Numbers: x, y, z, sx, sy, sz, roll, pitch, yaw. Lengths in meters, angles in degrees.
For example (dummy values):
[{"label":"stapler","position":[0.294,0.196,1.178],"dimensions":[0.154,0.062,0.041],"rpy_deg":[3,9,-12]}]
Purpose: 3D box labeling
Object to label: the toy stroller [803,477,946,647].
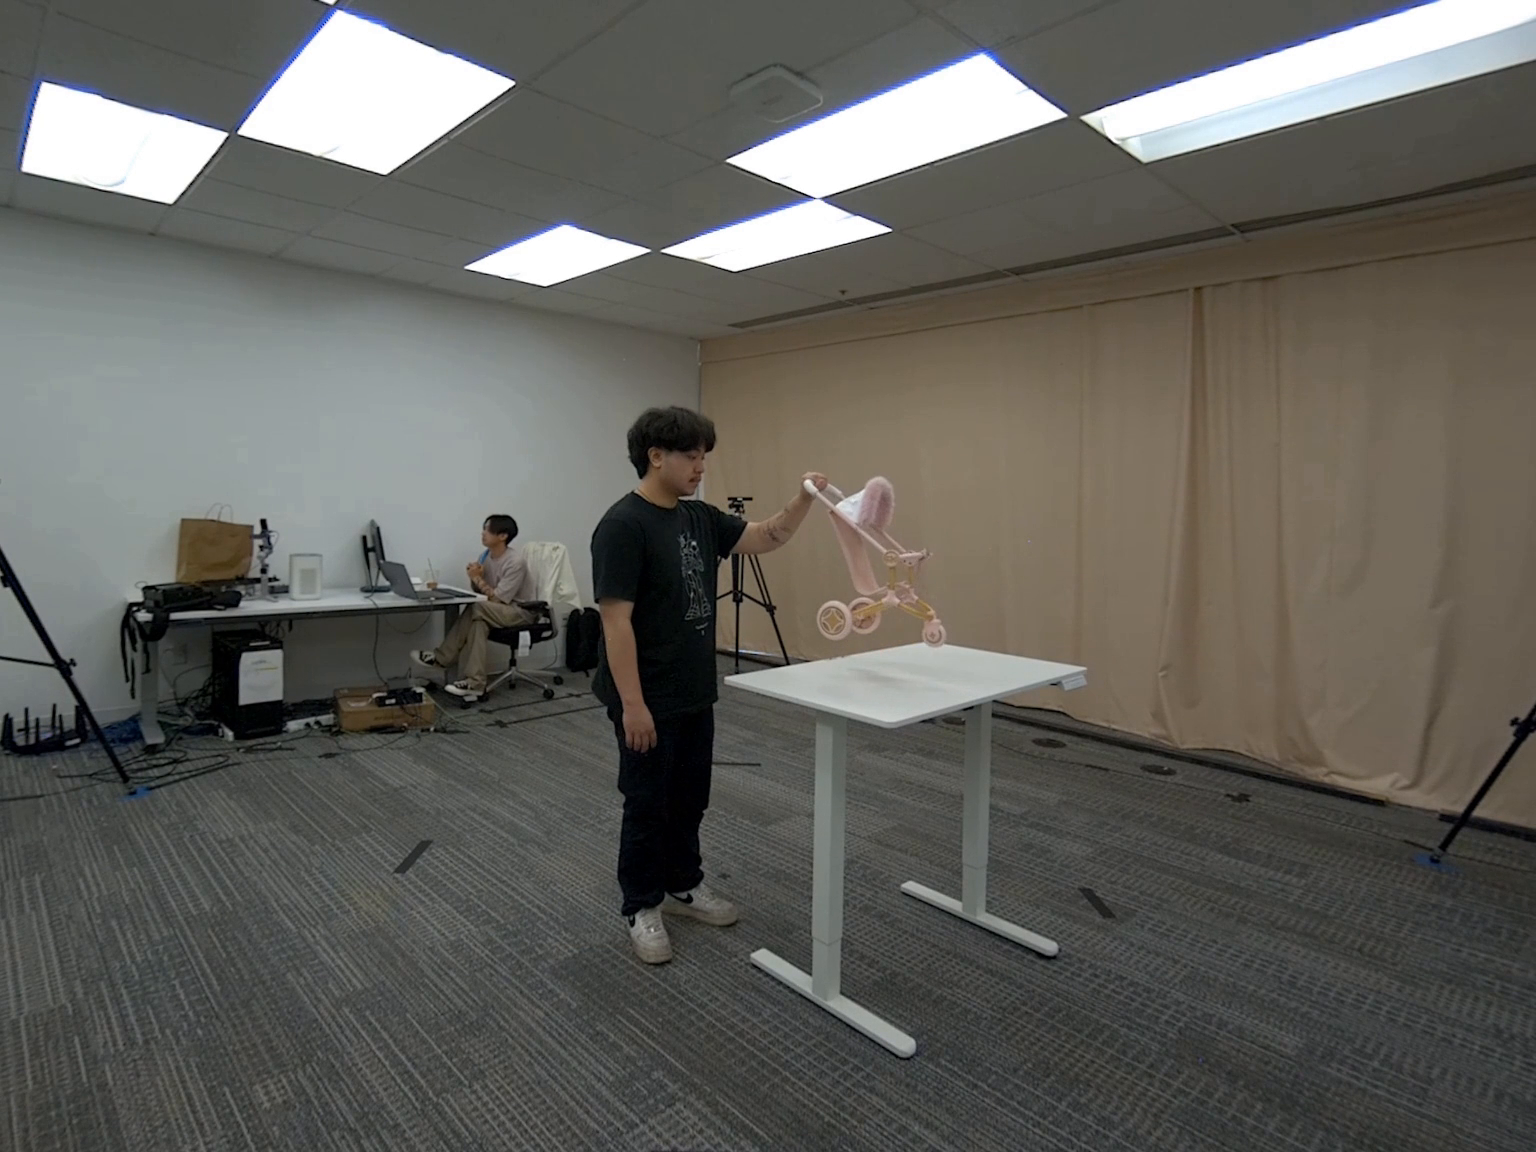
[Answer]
[{"label":"toy stroller","position":[0.312,-0.042,2.452],"dimensions":[0.347,0.537,0.275],"rpy_deg":[-9,-6,30]}]
